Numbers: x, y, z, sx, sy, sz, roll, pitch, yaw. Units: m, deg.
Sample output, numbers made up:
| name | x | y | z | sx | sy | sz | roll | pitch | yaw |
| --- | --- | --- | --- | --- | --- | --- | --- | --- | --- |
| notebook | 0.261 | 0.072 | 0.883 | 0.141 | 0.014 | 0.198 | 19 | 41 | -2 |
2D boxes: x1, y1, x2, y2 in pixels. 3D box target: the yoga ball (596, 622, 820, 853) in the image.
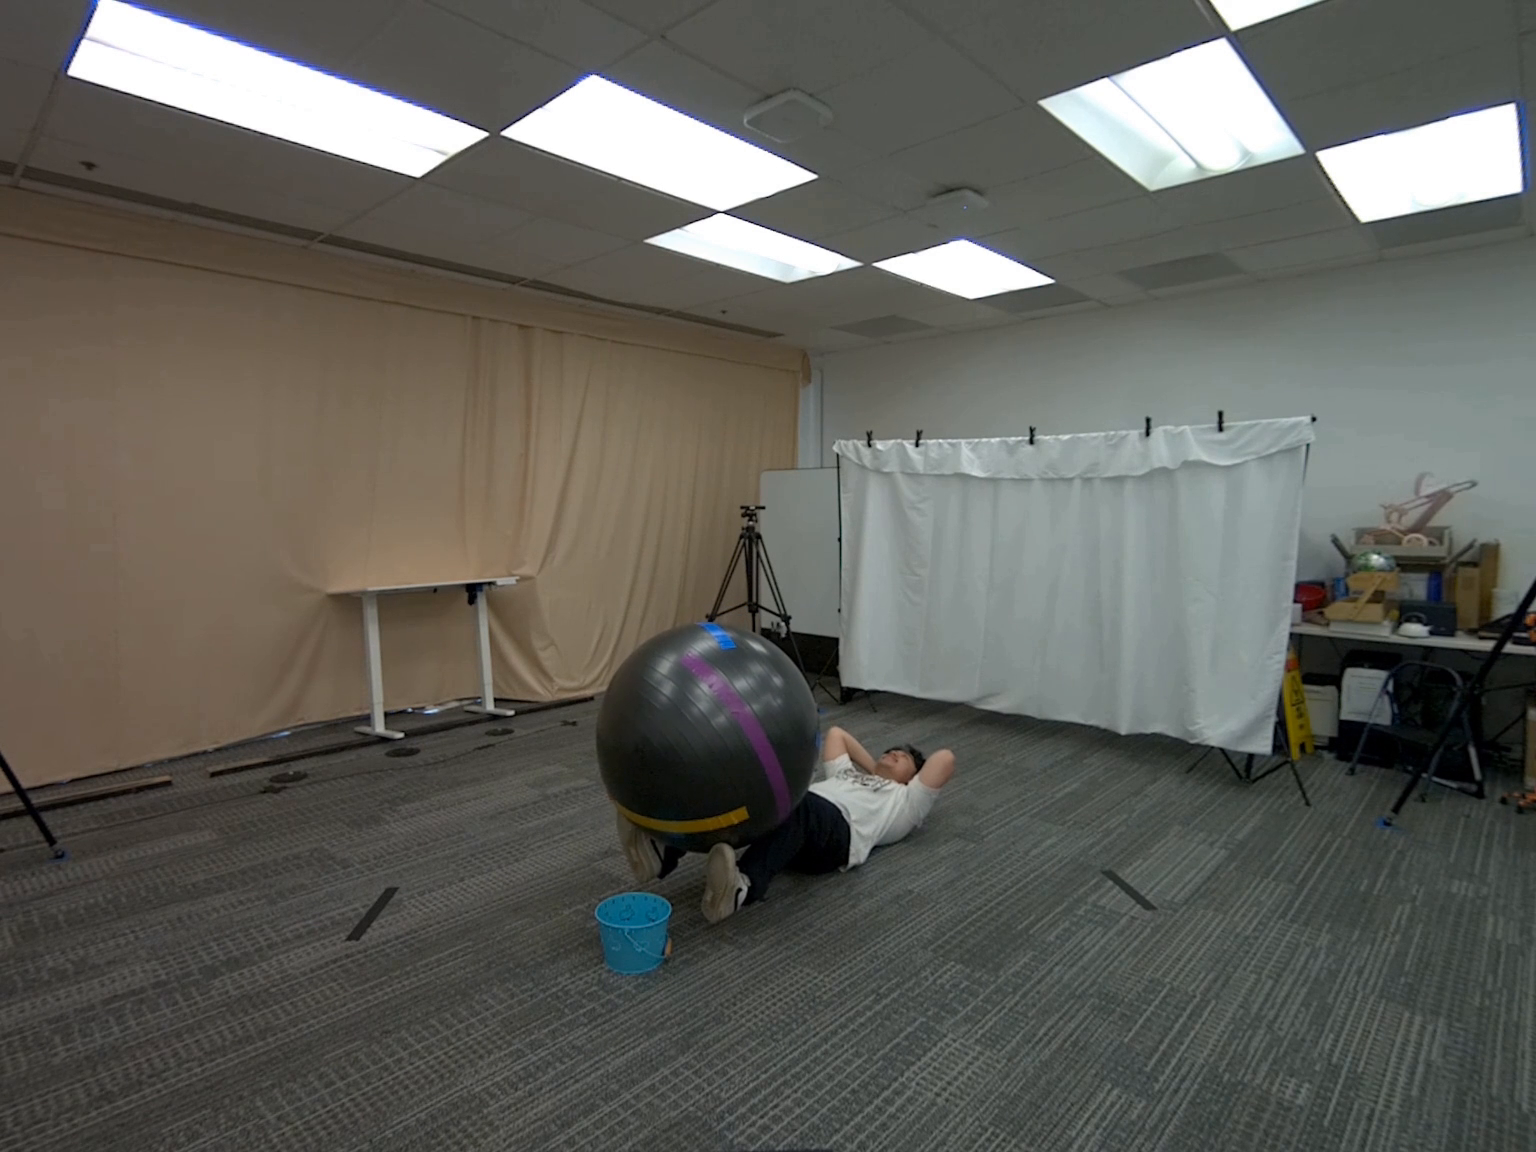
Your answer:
| name | x | y | z | sx | sy | sz | roll | pitch | yaw |
| --- | --- | --- | --- | --- | --- | --- | --- | --- | --- |
| yoga ball | -0.201 | 0.535 | 2.857 | 0.757 | 0.756 | 0.760 | 0 | 4 | -2 |
